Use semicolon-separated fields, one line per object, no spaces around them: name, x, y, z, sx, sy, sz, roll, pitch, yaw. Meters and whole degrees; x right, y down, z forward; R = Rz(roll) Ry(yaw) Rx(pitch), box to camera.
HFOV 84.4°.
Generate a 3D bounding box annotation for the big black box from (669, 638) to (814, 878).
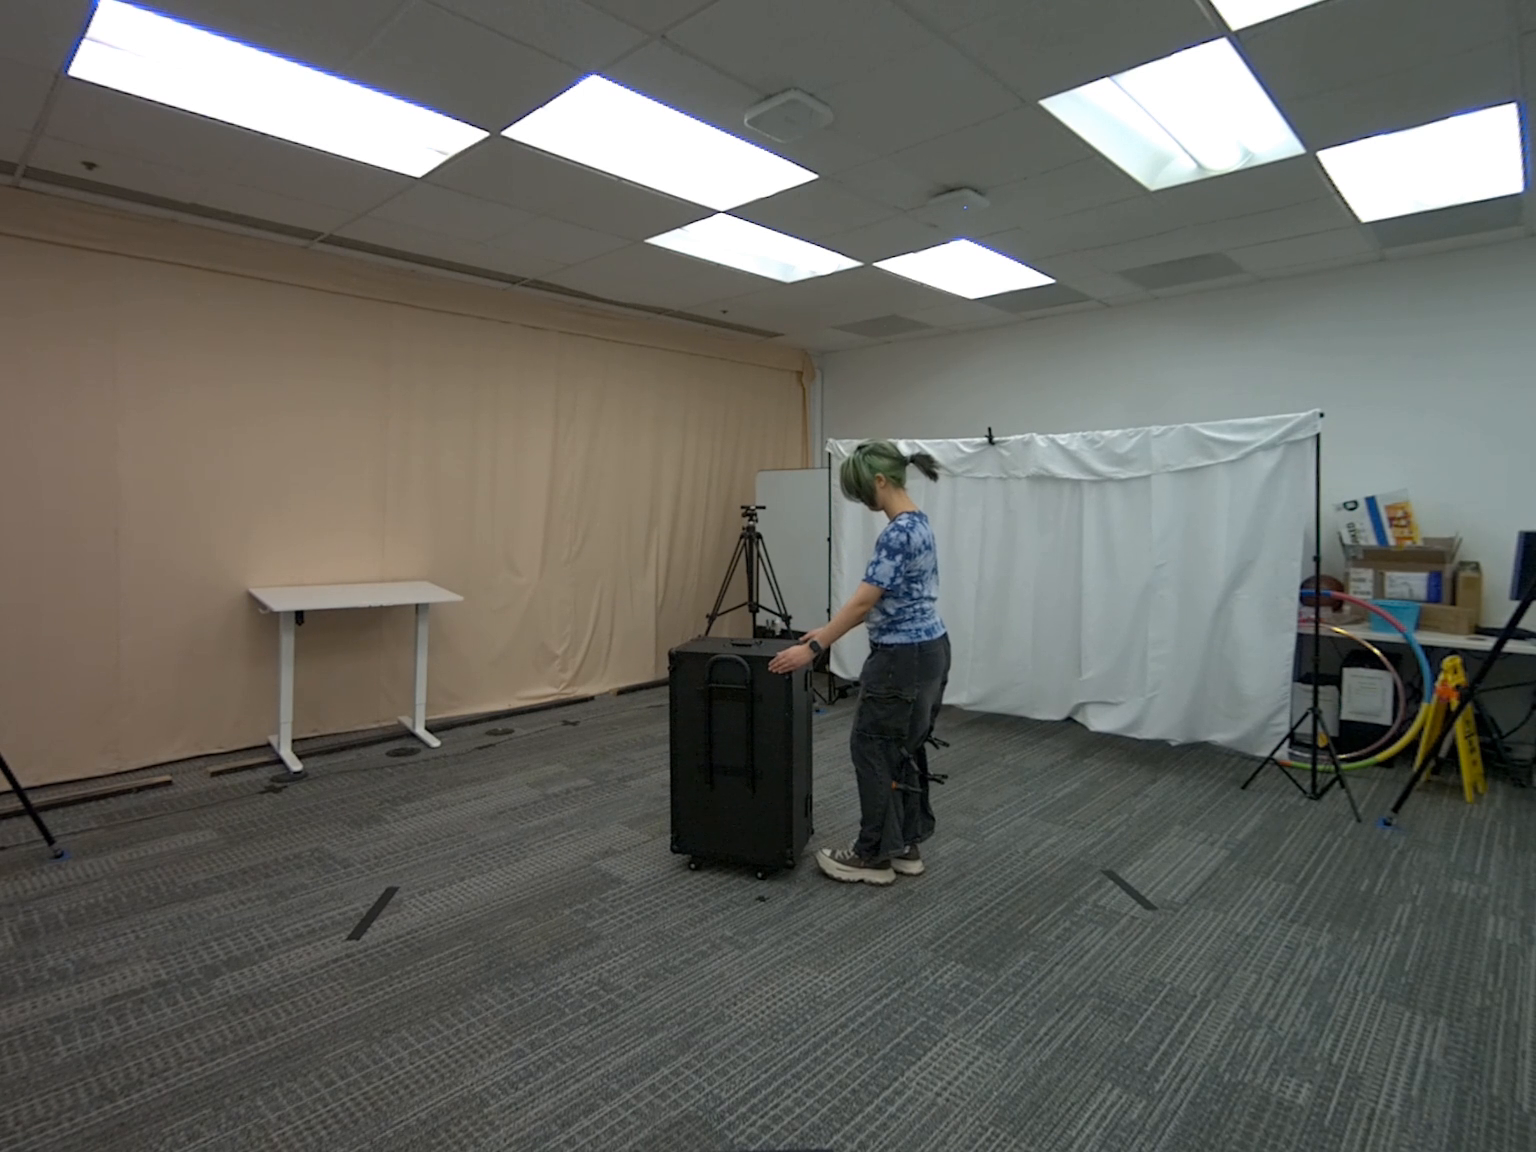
big black box;-0.094;0.700;3.277;0.531;0.859;0.390;2;4;17
